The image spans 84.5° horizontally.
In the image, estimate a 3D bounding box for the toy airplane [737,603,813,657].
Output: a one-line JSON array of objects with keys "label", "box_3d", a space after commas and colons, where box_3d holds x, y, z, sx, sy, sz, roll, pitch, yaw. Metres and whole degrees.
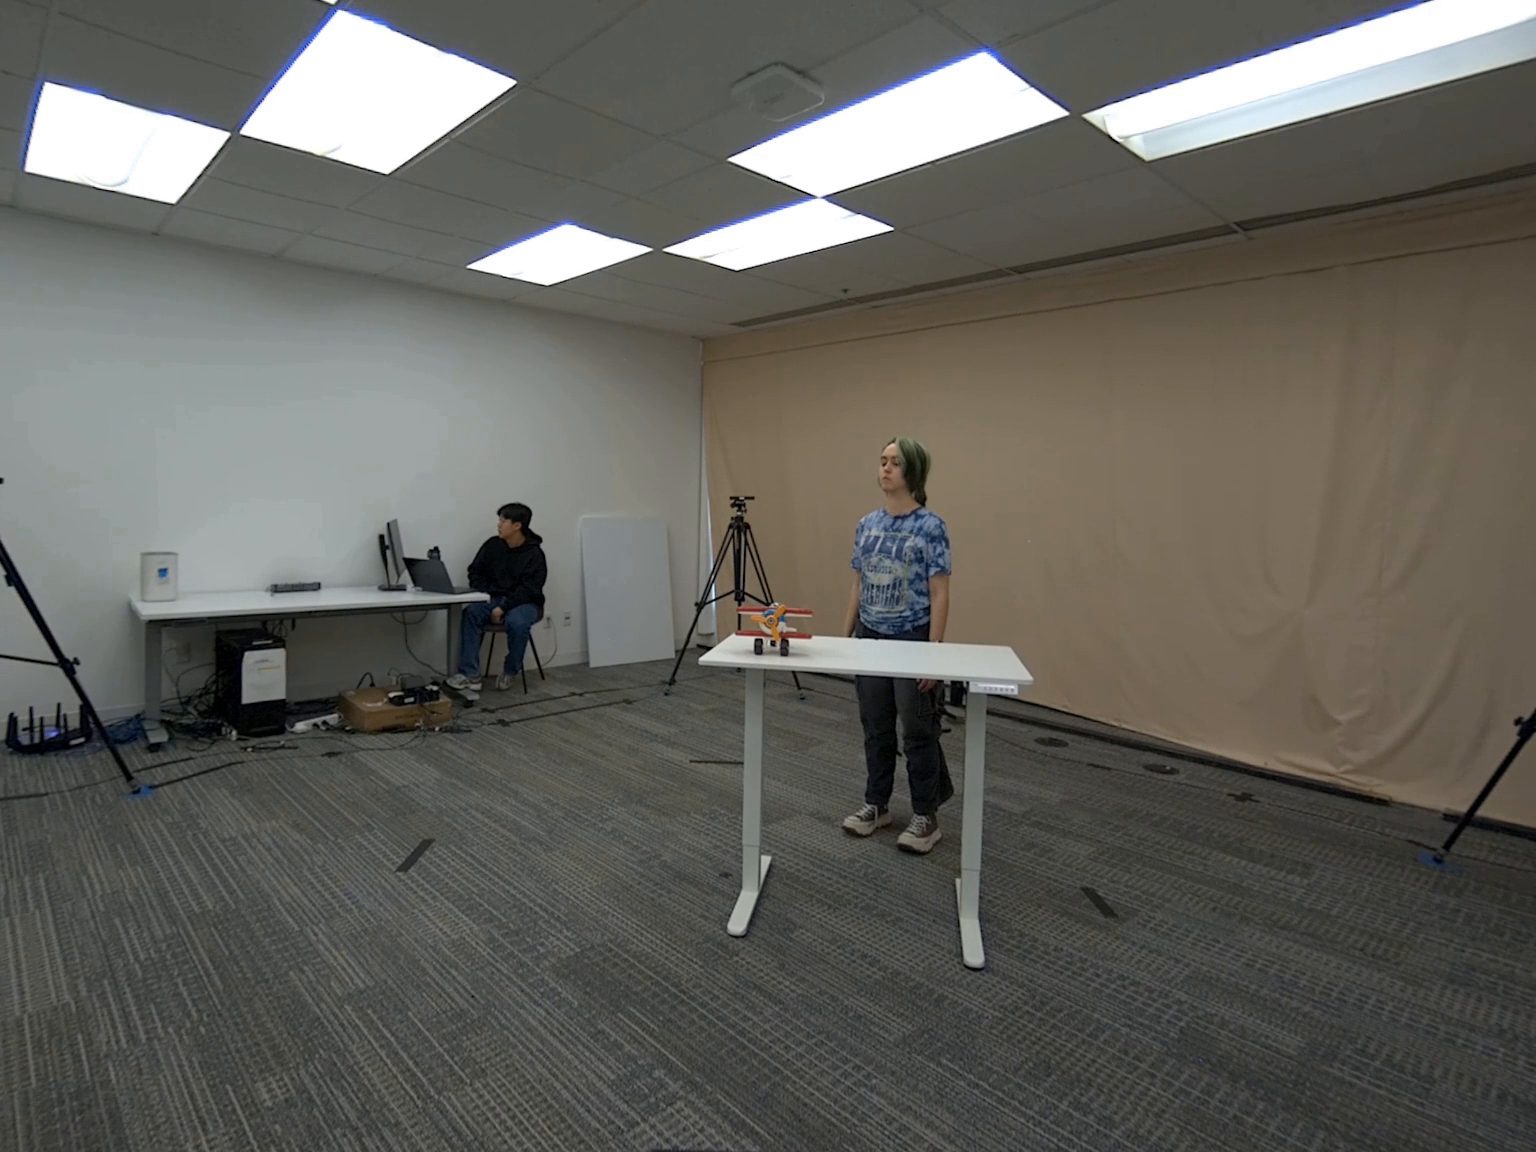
[{"label": "toy airplane", "box_3d": [0.002, 0.176, 2.824, 0.247, 0.156, 0.264, -1, 6, -21]}]
